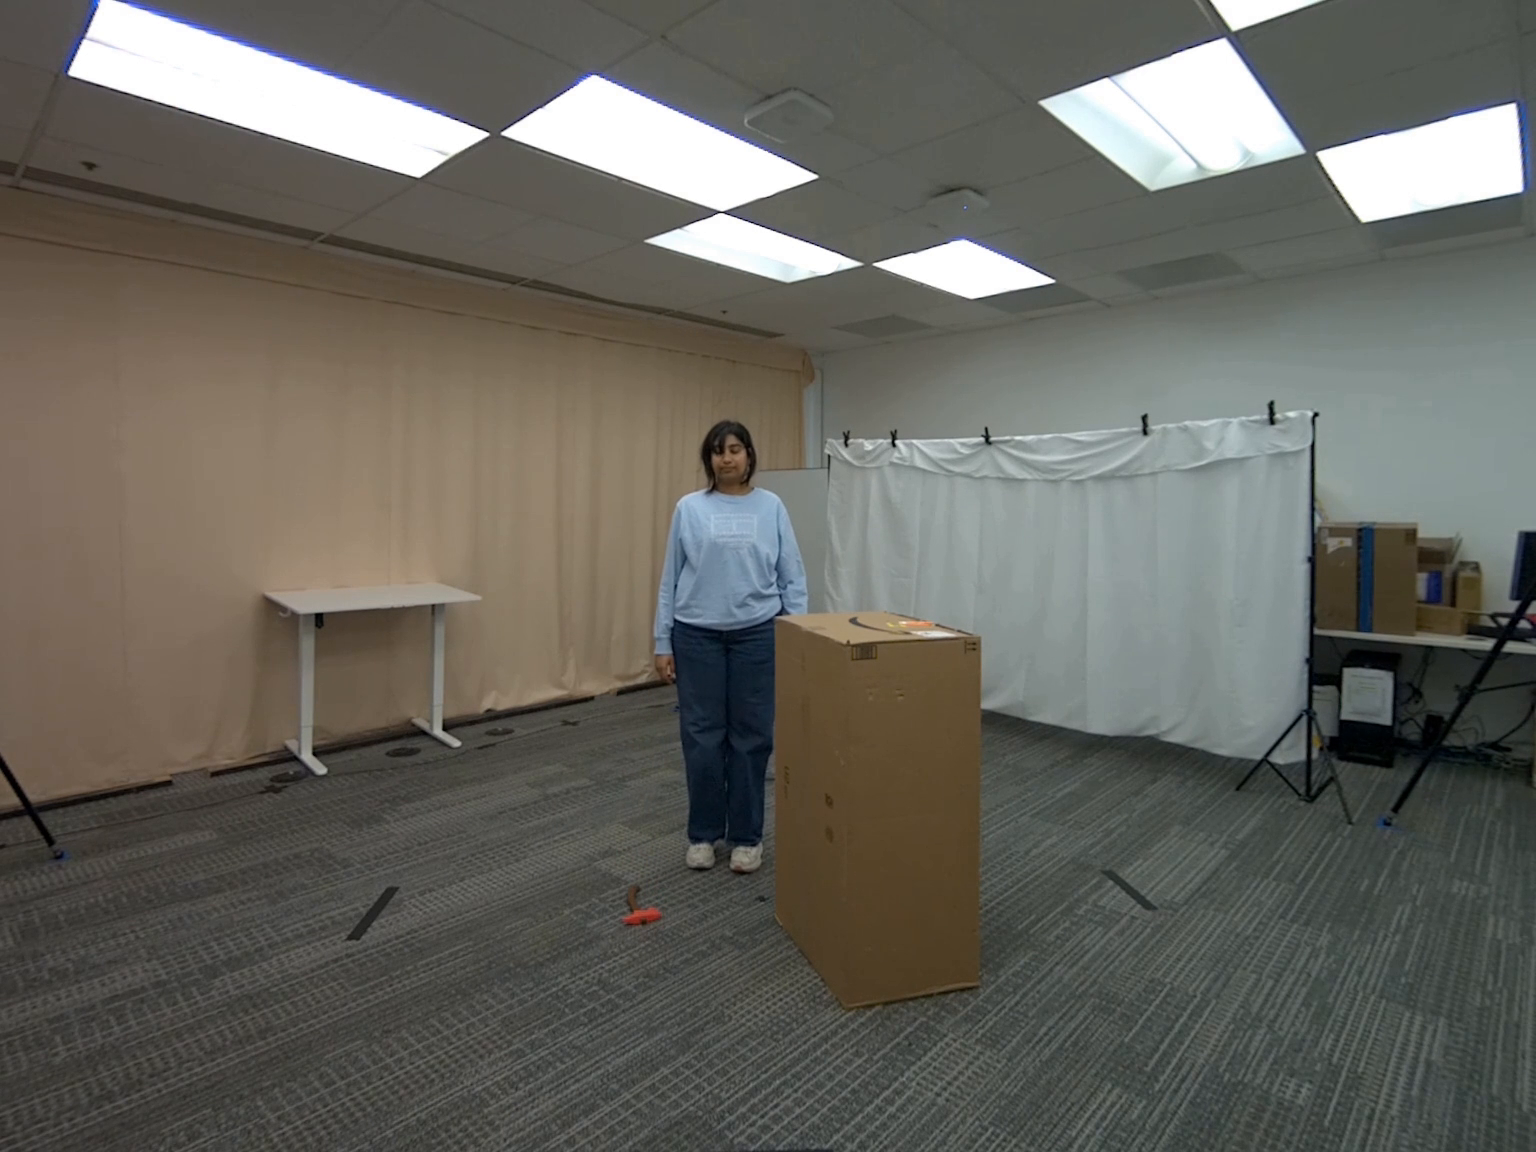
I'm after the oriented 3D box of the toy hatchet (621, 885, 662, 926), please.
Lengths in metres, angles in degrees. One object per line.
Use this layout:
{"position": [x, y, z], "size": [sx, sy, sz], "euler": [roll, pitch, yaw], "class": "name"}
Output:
{"position": [-0.430, 1.146, 2.928], "size": [0.131, 0.029, 0.271], "euler": [0, 3, -4], "class": "toy hatchet"}
